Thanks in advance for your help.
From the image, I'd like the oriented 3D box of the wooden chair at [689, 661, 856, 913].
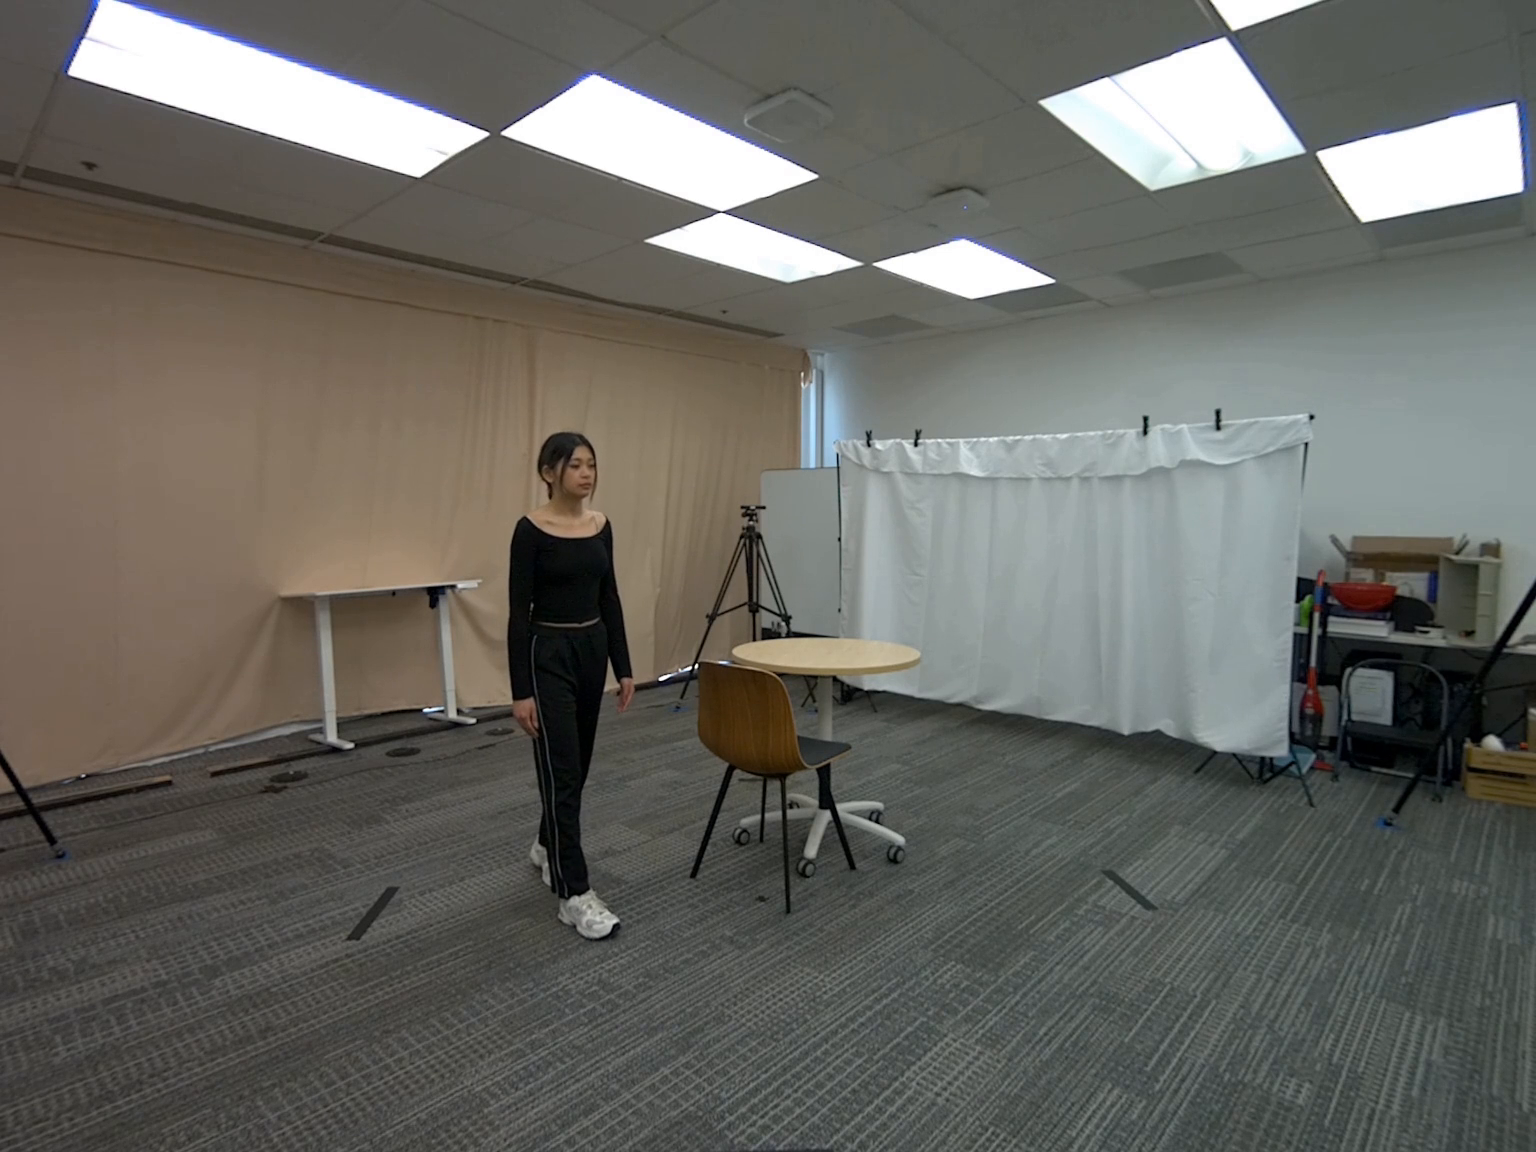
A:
[{"bbox_3d":[0.027,0.699,3.160,0.493,0.873,0.509,2,8,38],"label":"wooden chair"}]
